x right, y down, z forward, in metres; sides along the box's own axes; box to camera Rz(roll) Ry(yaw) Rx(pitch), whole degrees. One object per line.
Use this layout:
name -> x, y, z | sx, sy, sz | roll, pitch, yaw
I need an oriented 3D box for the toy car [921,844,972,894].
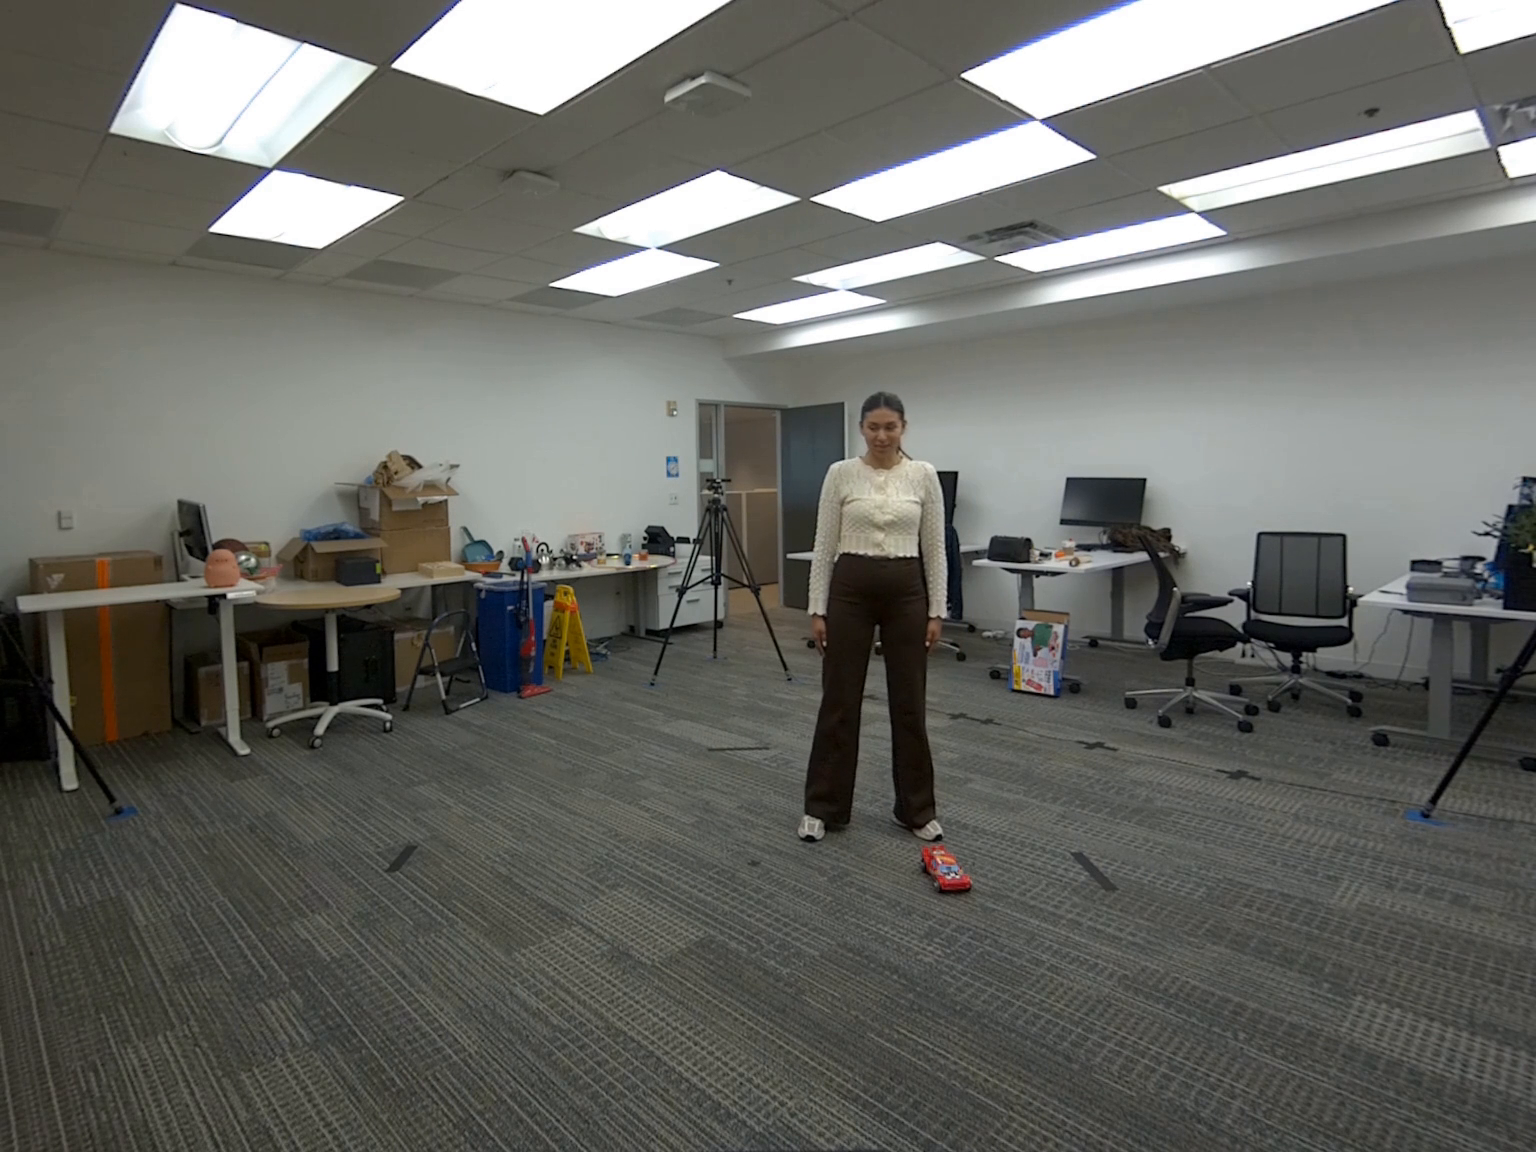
toy car -> 0.615, 1.019, 2.961 | 0.129, 0.082, 0.259 | -2, 17, -6
